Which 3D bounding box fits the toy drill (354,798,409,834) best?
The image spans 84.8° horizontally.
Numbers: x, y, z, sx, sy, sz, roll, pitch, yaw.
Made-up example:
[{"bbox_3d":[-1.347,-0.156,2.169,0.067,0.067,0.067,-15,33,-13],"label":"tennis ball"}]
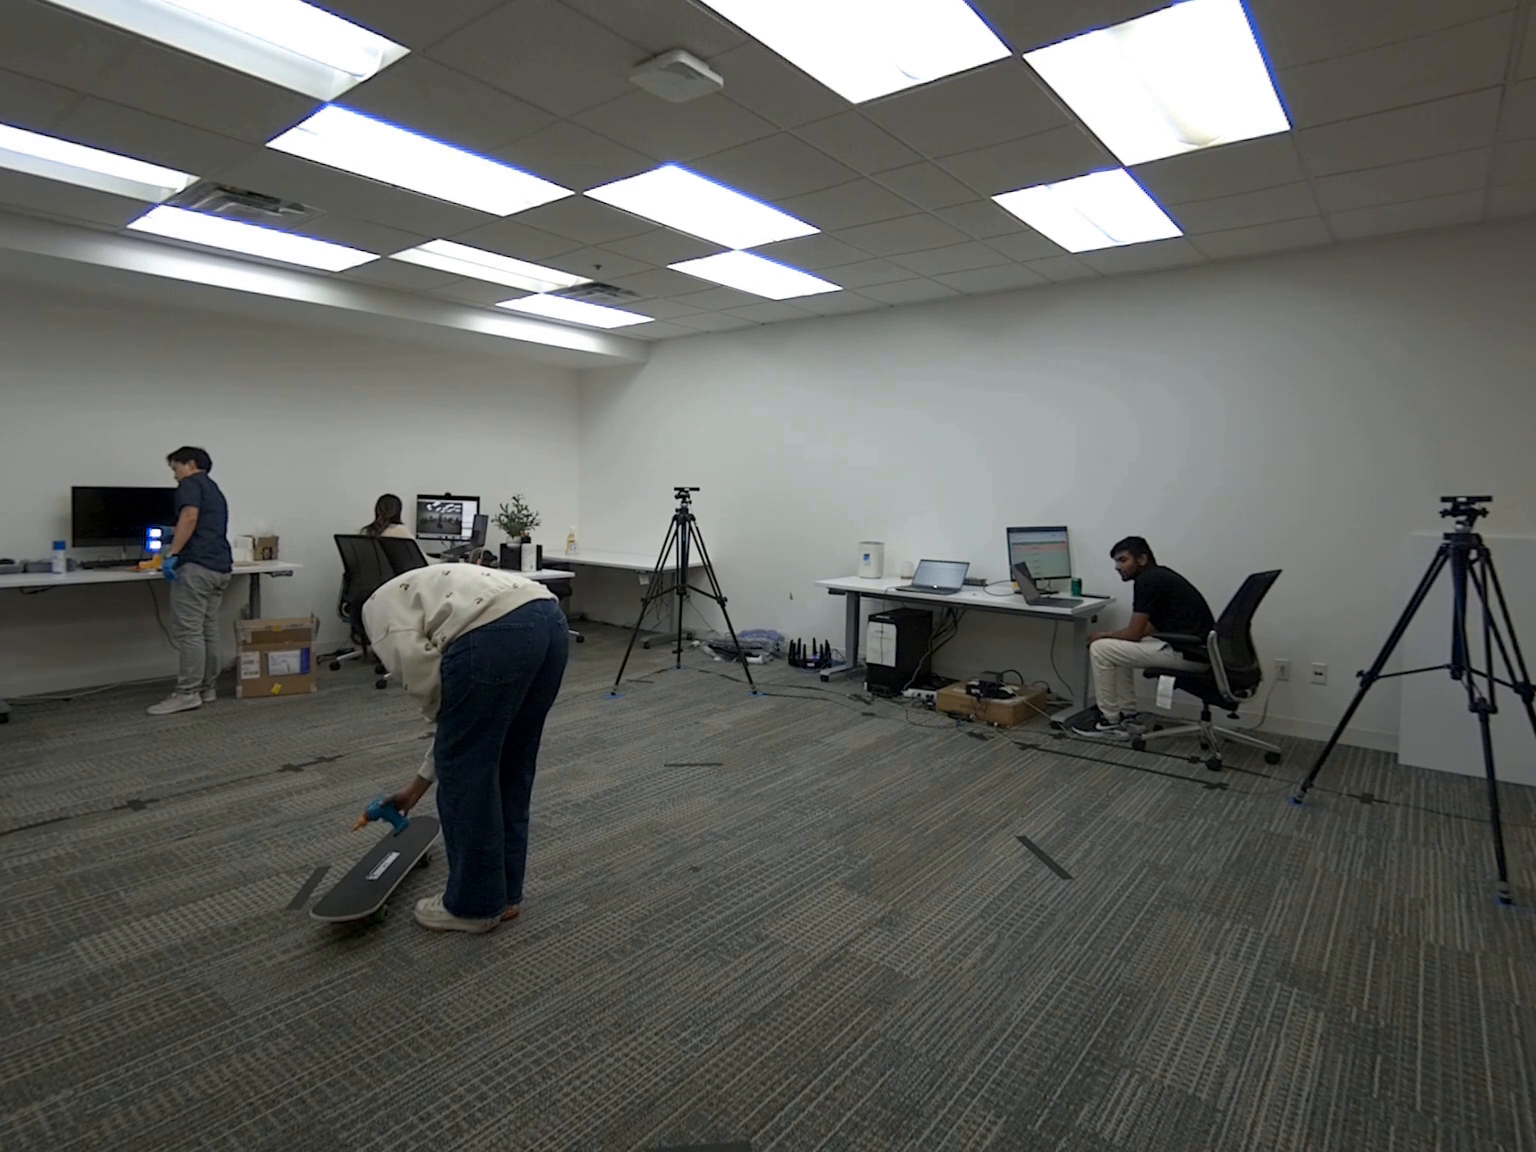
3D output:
[{"bbox_3d":[-1.345,0.837,2.911,0.169,0.144,0.062,-43,13,-24],"label":"toy drill"}]
